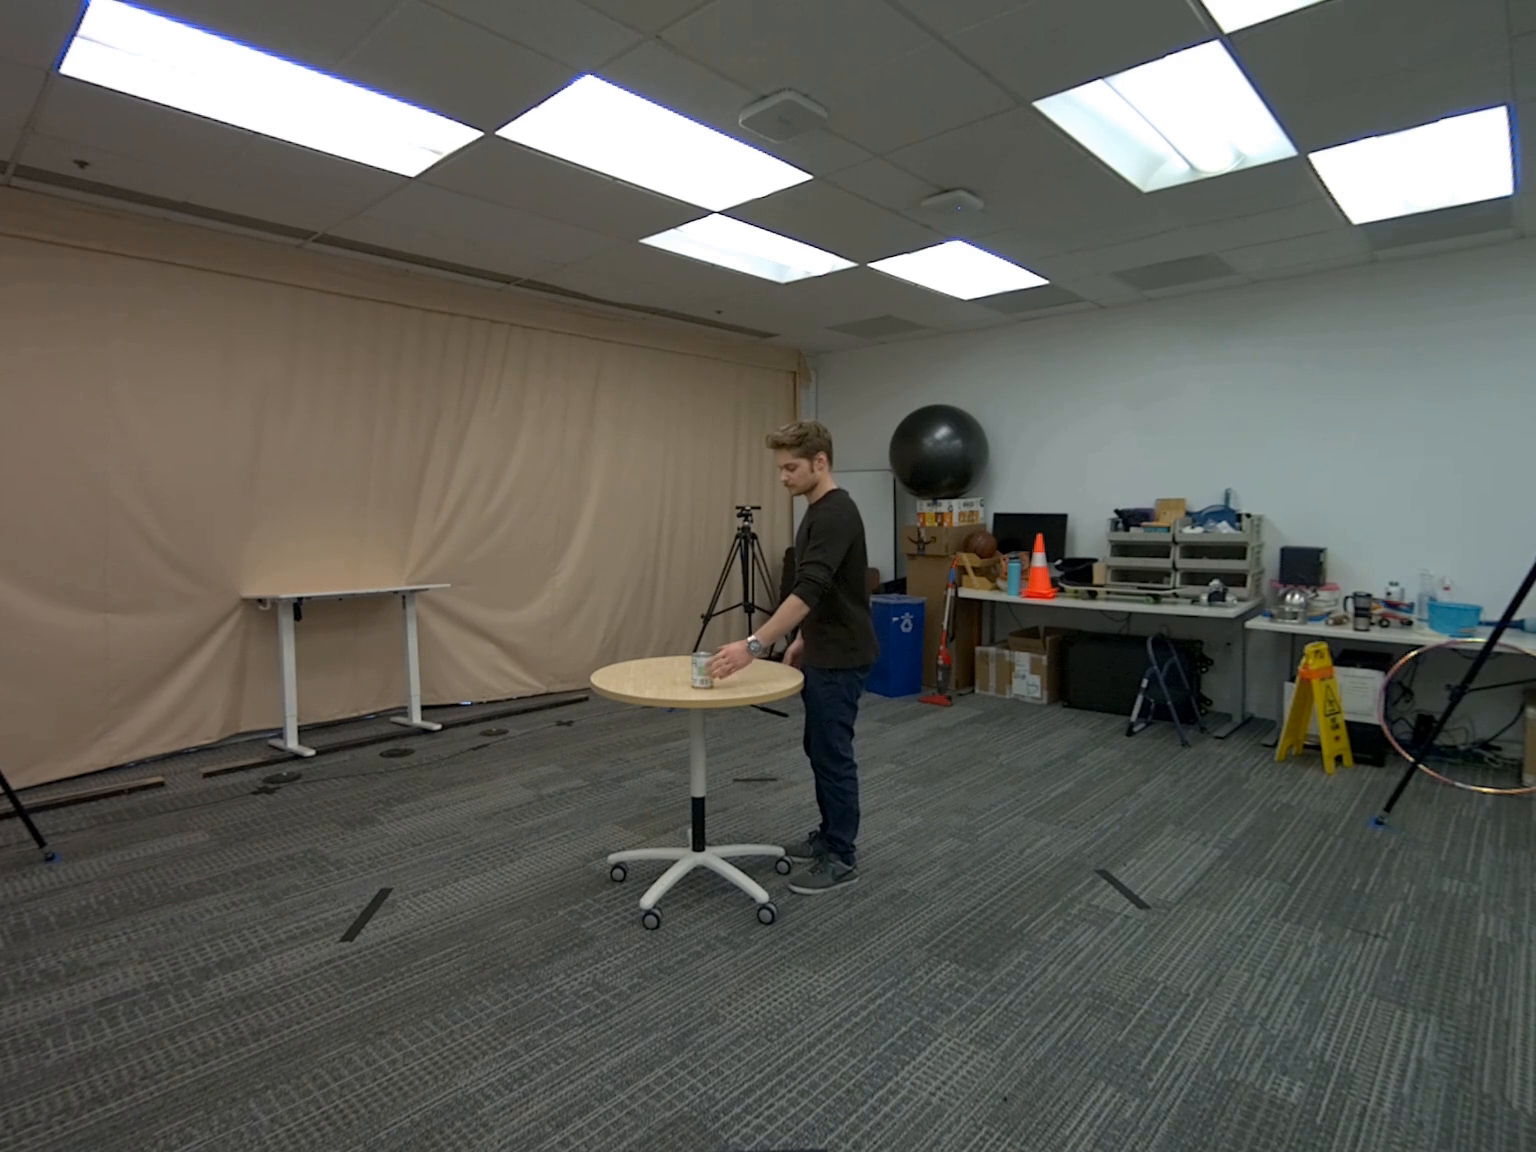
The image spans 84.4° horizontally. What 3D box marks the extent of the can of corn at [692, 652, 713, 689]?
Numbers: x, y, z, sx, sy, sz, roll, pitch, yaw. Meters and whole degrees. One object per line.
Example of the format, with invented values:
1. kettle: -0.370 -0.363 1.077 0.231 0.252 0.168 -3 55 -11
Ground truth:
1. can of corn: -0.223 0.317 2.835 0.074 0.111 0.074 -1 4 -2
